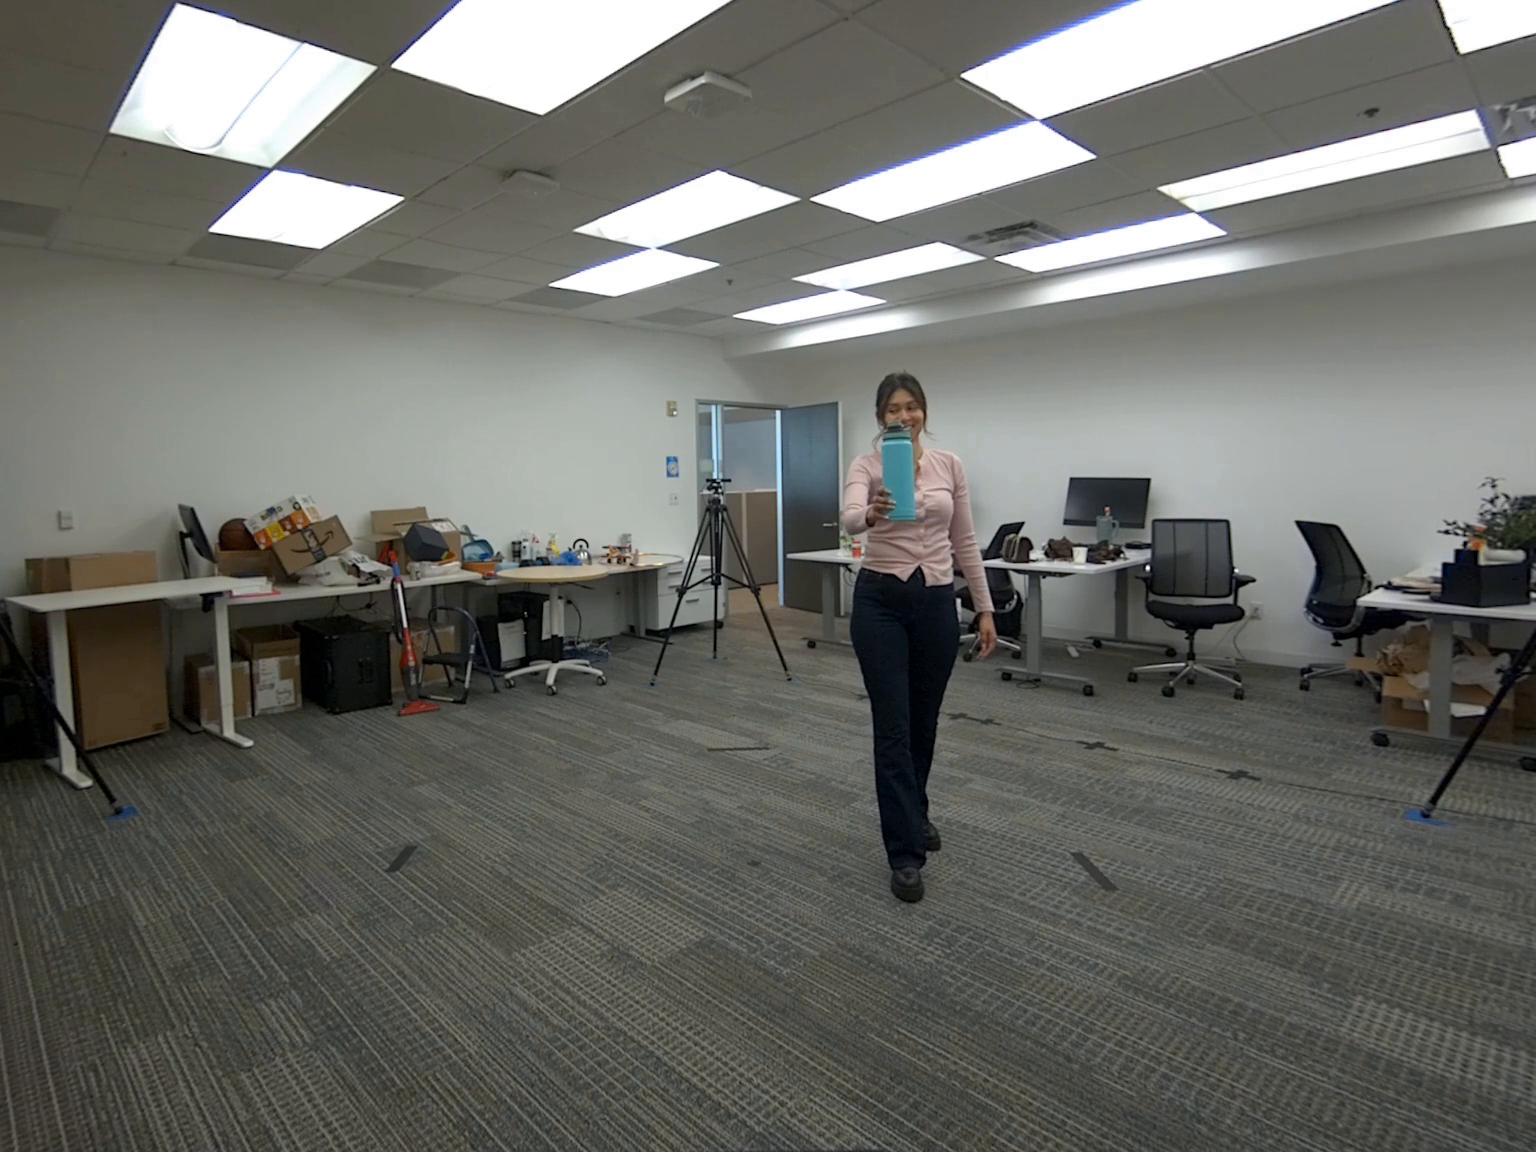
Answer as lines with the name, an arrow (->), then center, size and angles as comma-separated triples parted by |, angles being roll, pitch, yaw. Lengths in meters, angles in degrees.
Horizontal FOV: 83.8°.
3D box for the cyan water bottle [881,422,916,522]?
cyan water bottle -> 0.376, -0.305, 2.437 | 0.092, 0.284, 0.092 | -3, -2, -2
